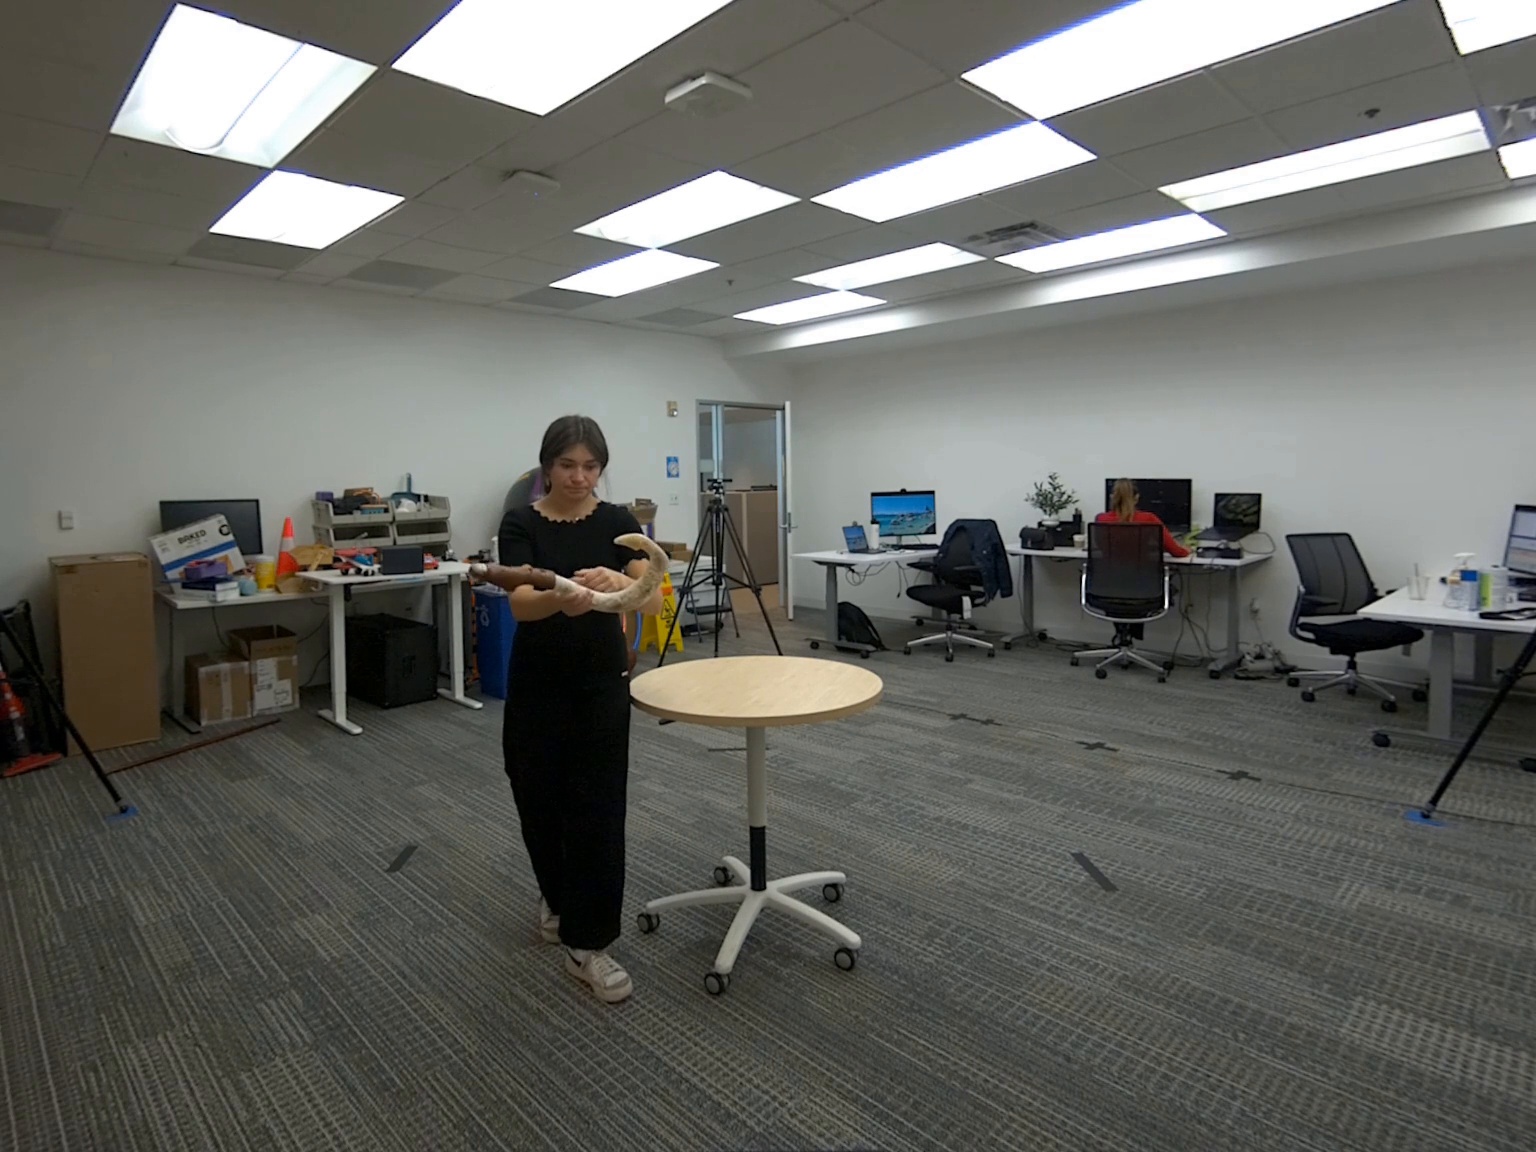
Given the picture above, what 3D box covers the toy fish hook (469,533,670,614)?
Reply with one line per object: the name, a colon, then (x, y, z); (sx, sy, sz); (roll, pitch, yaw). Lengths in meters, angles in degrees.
toy fish hook: (-0.438, -0.017, 1.954); (0.490, 0.223, 0.050); (10, 25, -47)
